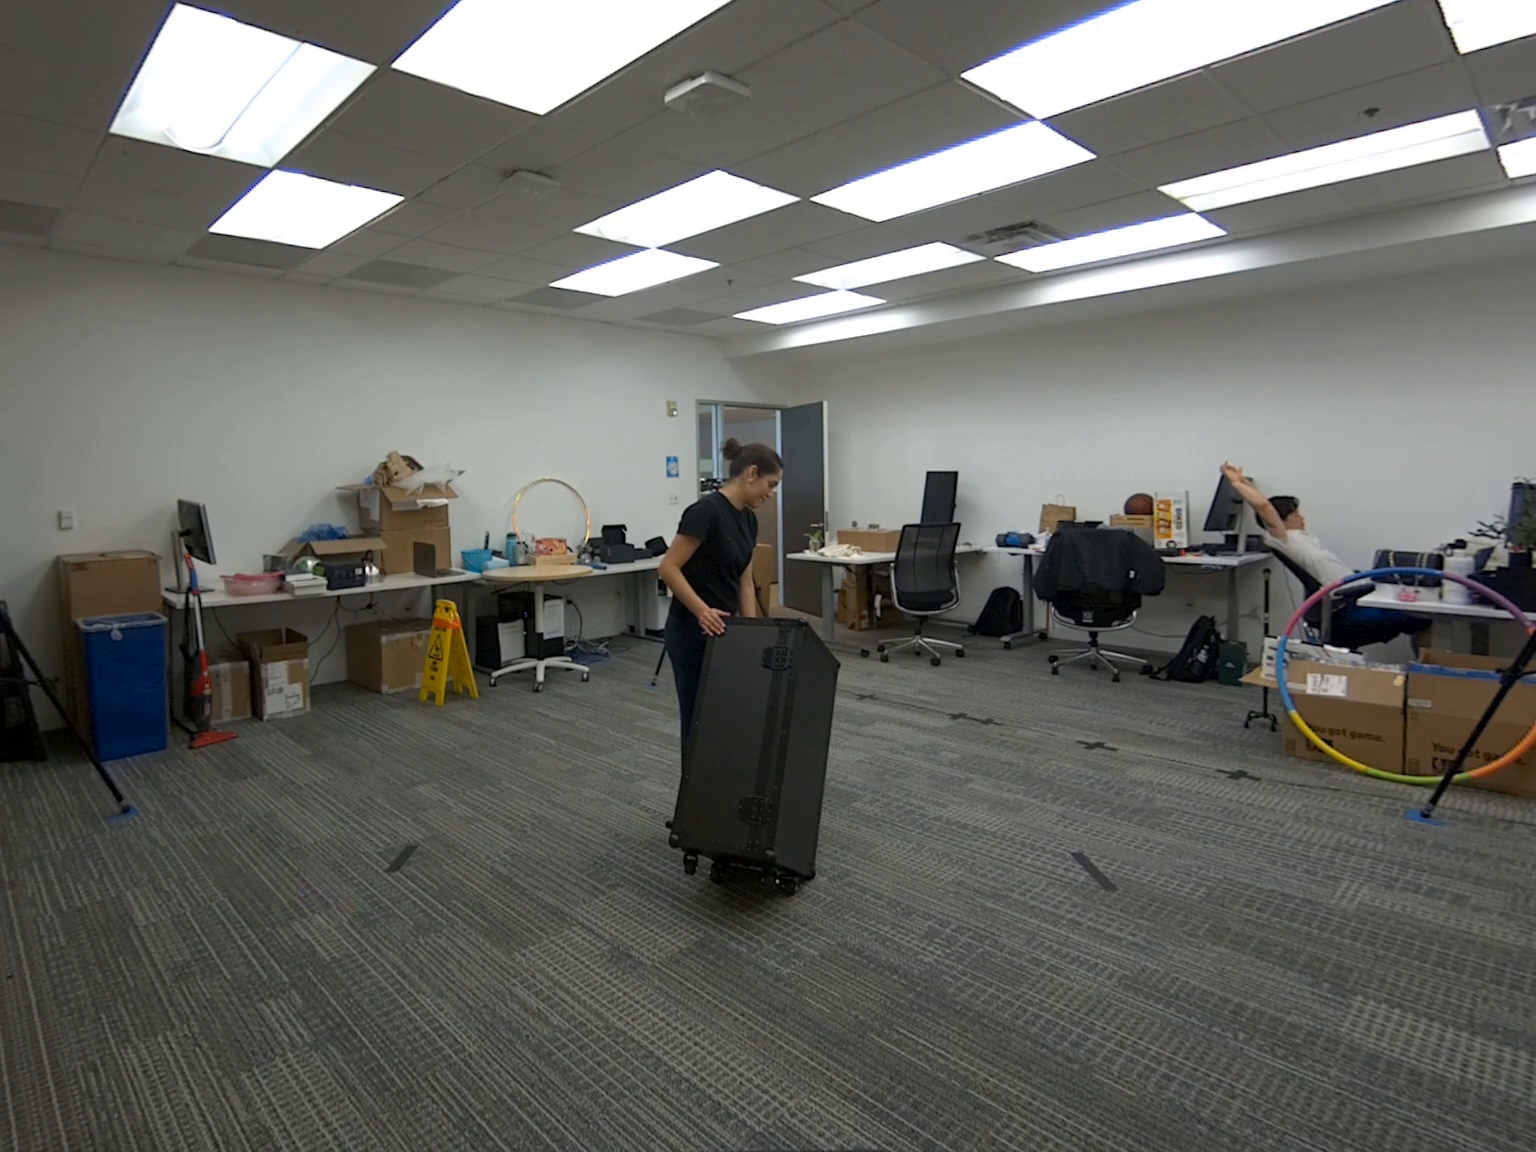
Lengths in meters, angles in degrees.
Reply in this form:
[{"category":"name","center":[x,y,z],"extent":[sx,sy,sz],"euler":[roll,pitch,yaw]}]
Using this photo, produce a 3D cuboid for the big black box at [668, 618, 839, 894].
[{"category":"big black box","center":[-0.036,0.623,3.006],"extent":[0.404,0.876,0.502],"euler":[-2,-25,21]}]
